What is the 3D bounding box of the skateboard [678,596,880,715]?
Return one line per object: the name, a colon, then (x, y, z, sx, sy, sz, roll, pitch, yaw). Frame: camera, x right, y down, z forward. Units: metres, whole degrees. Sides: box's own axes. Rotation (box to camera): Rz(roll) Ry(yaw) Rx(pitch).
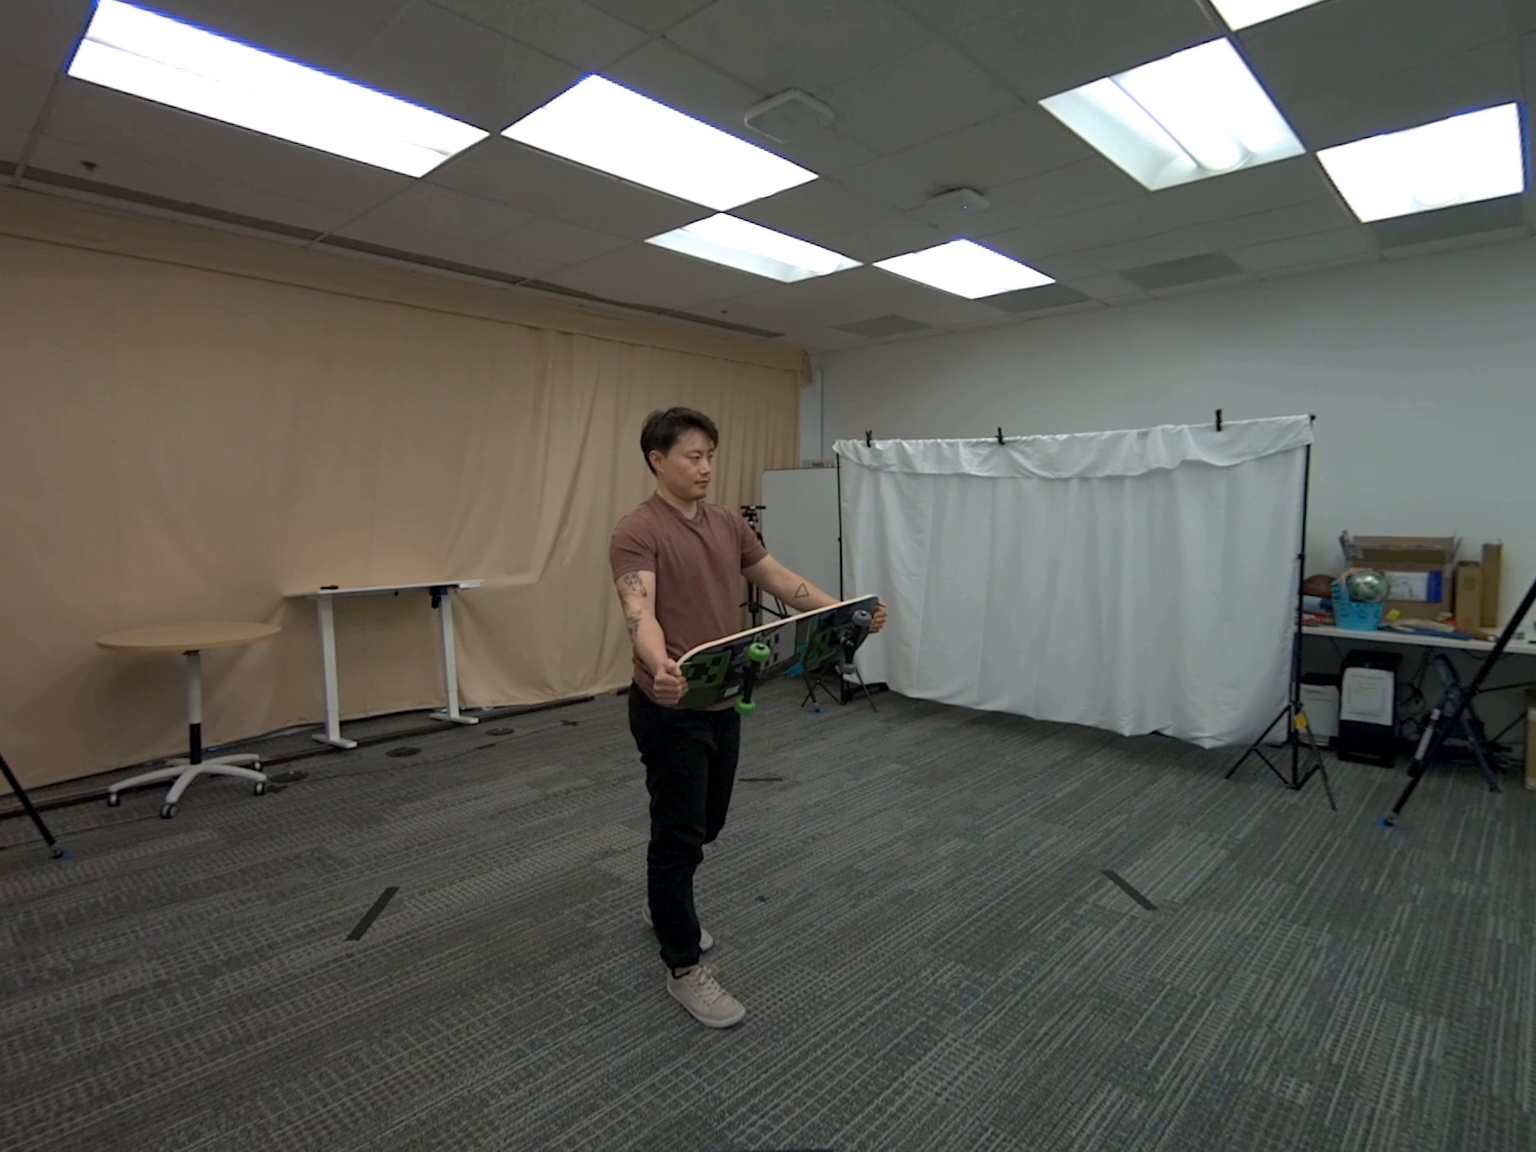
skateboard: (0.076, 0.201, 2.151, 0.764, 0.192, 0.114, -13, 38, -43)
